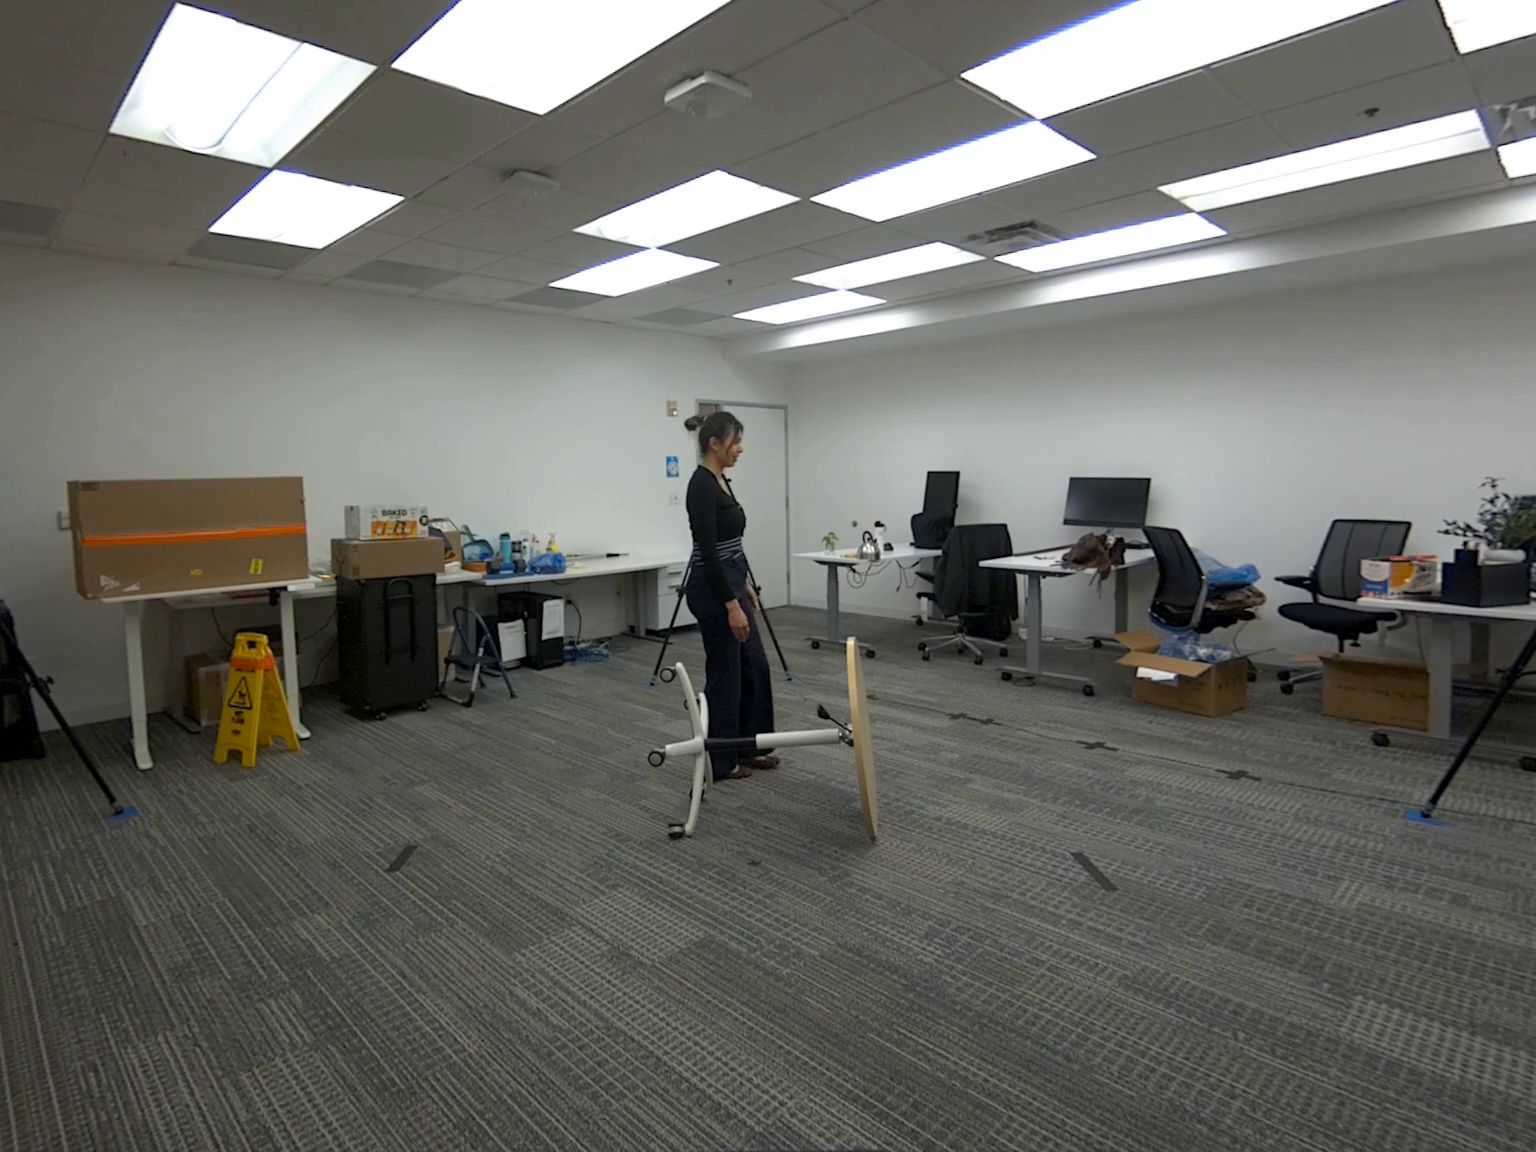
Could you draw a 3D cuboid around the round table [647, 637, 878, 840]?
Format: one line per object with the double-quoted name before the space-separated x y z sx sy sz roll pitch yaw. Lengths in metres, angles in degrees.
"round table" -0.005 0.670 3.446 0.801 0.762 0.760 -6 4 9
